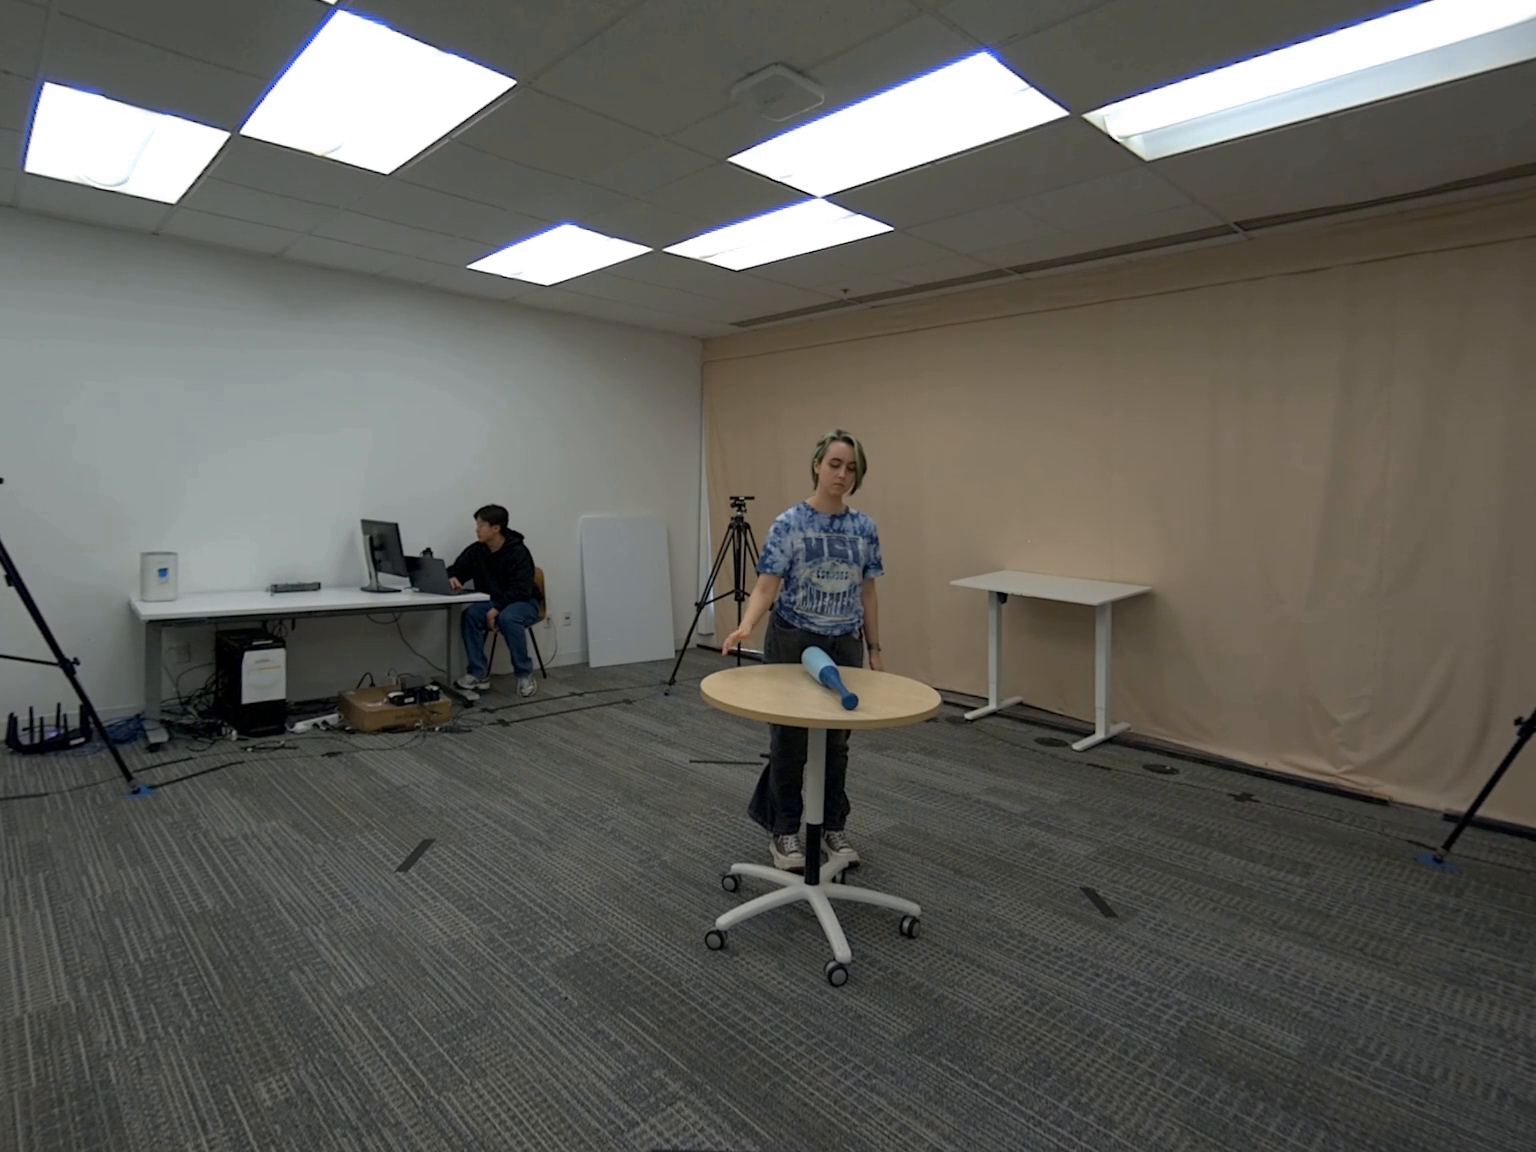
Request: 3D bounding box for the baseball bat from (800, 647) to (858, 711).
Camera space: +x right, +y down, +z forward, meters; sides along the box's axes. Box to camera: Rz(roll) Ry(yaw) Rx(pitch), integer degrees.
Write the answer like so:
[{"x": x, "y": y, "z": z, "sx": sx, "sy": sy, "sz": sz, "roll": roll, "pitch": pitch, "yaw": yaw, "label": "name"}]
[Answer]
[{"x": 0.187, "y": 0.329, "z": 2.696, "sx": 0.088, "sy": 0.088, "sz": 0.549, "roll": 1, "pitch": 7, "yaw": -9, "label": "baseball bat"}]
